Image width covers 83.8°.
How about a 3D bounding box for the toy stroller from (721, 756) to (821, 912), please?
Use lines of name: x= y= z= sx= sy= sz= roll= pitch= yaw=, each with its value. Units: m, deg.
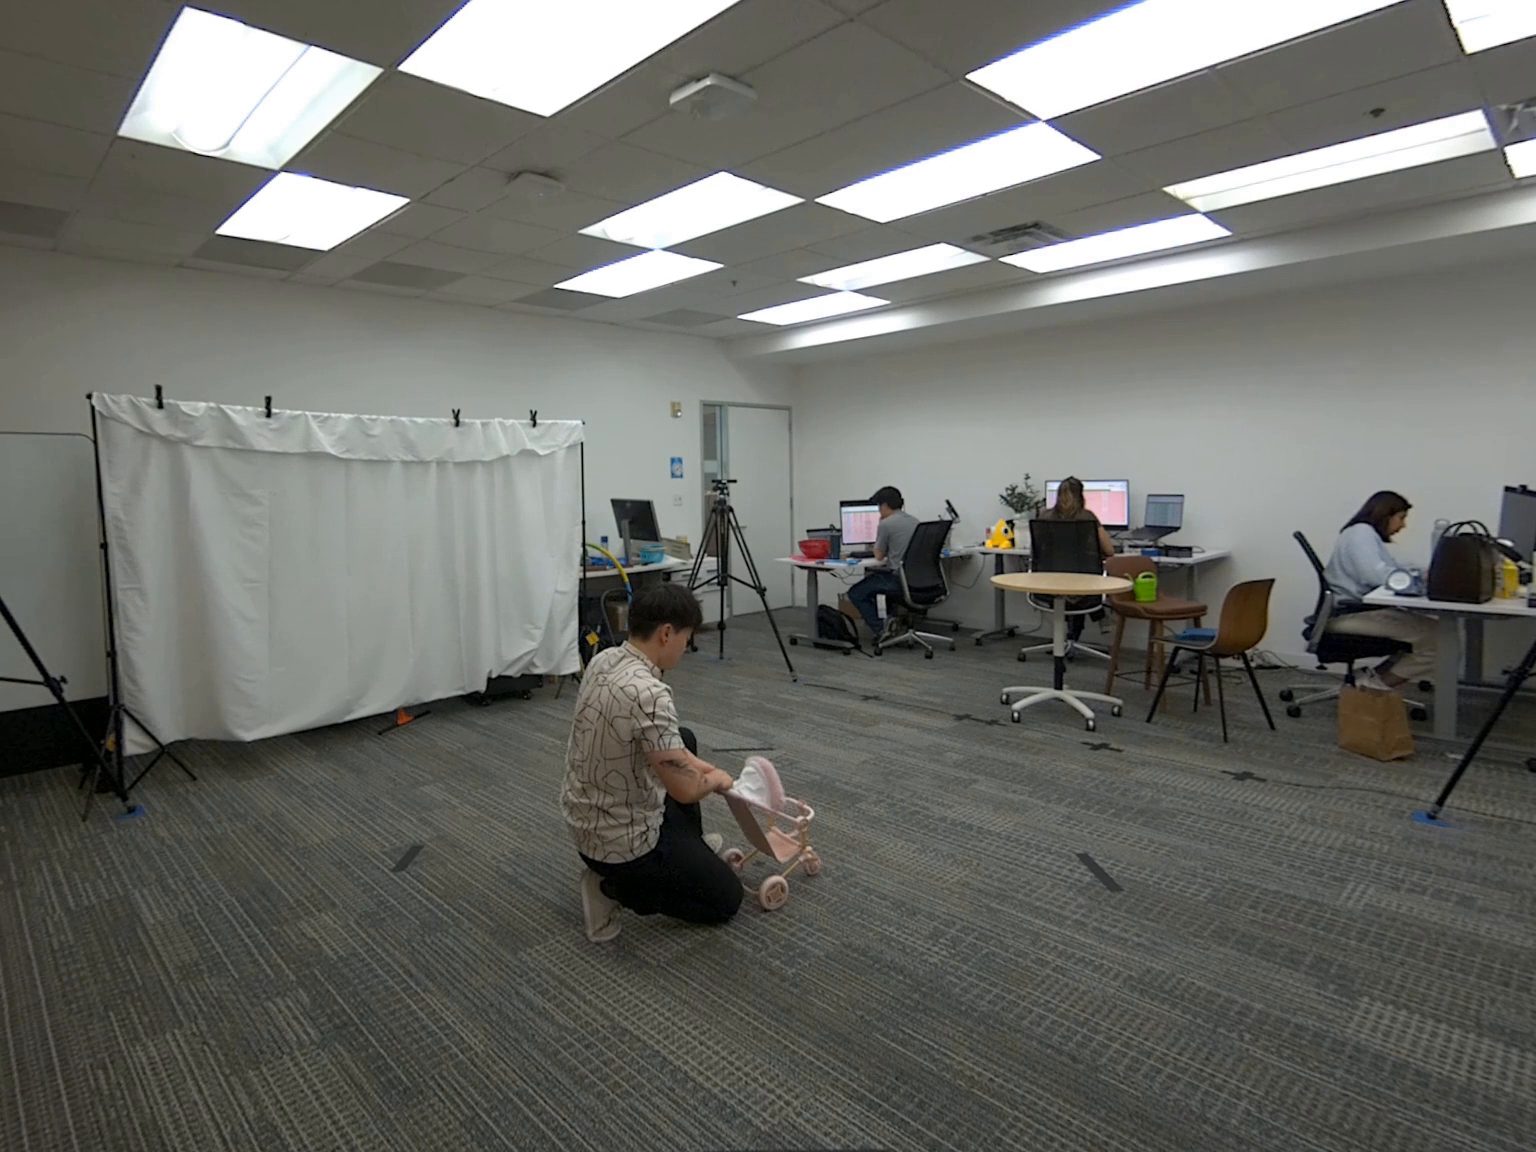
toy stroller: x=0.003 y=0.839 z=2.903 sx=0.336 sy=0.528 sz=0.289 roll=-21 pitch=13 yaw=-26
